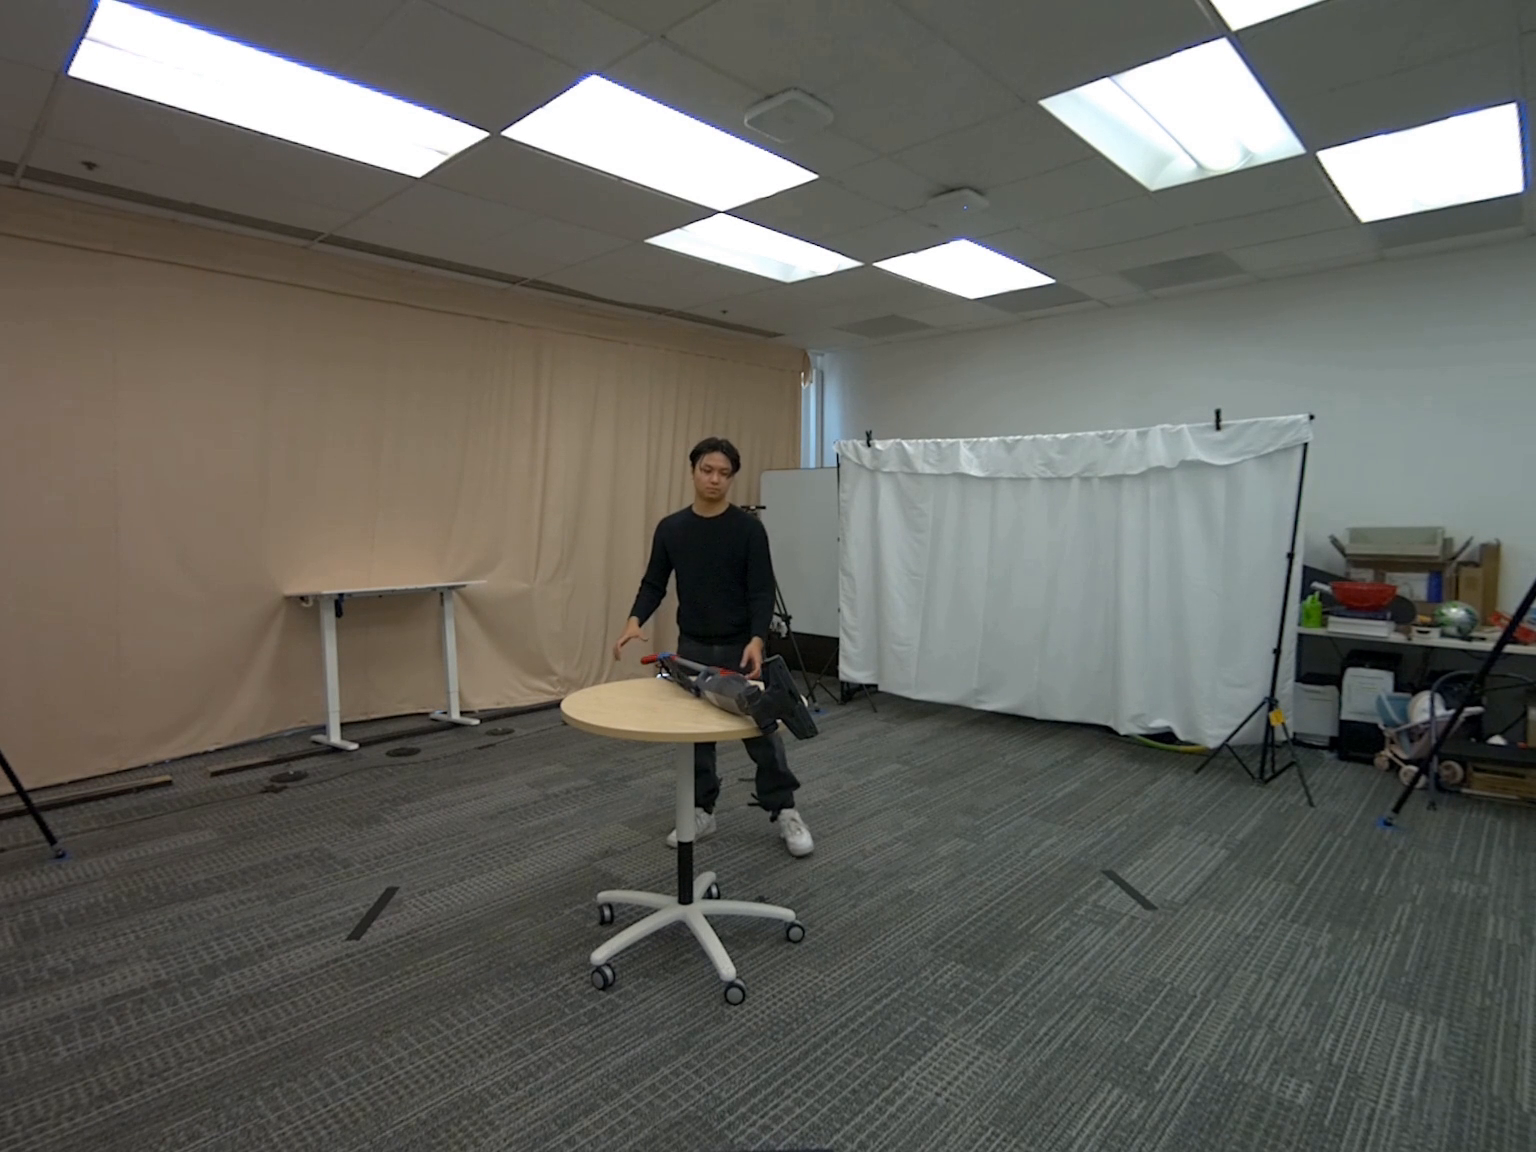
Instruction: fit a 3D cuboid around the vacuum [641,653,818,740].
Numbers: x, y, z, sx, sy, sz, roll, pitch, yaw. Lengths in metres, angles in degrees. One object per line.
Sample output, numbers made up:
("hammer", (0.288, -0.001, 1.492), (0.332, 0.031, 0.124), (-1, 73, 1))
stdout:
("vacuum", (-0.215, 0.342, 2.746), (0.142, 0.249, 1.075), (-33, 14, -23))
